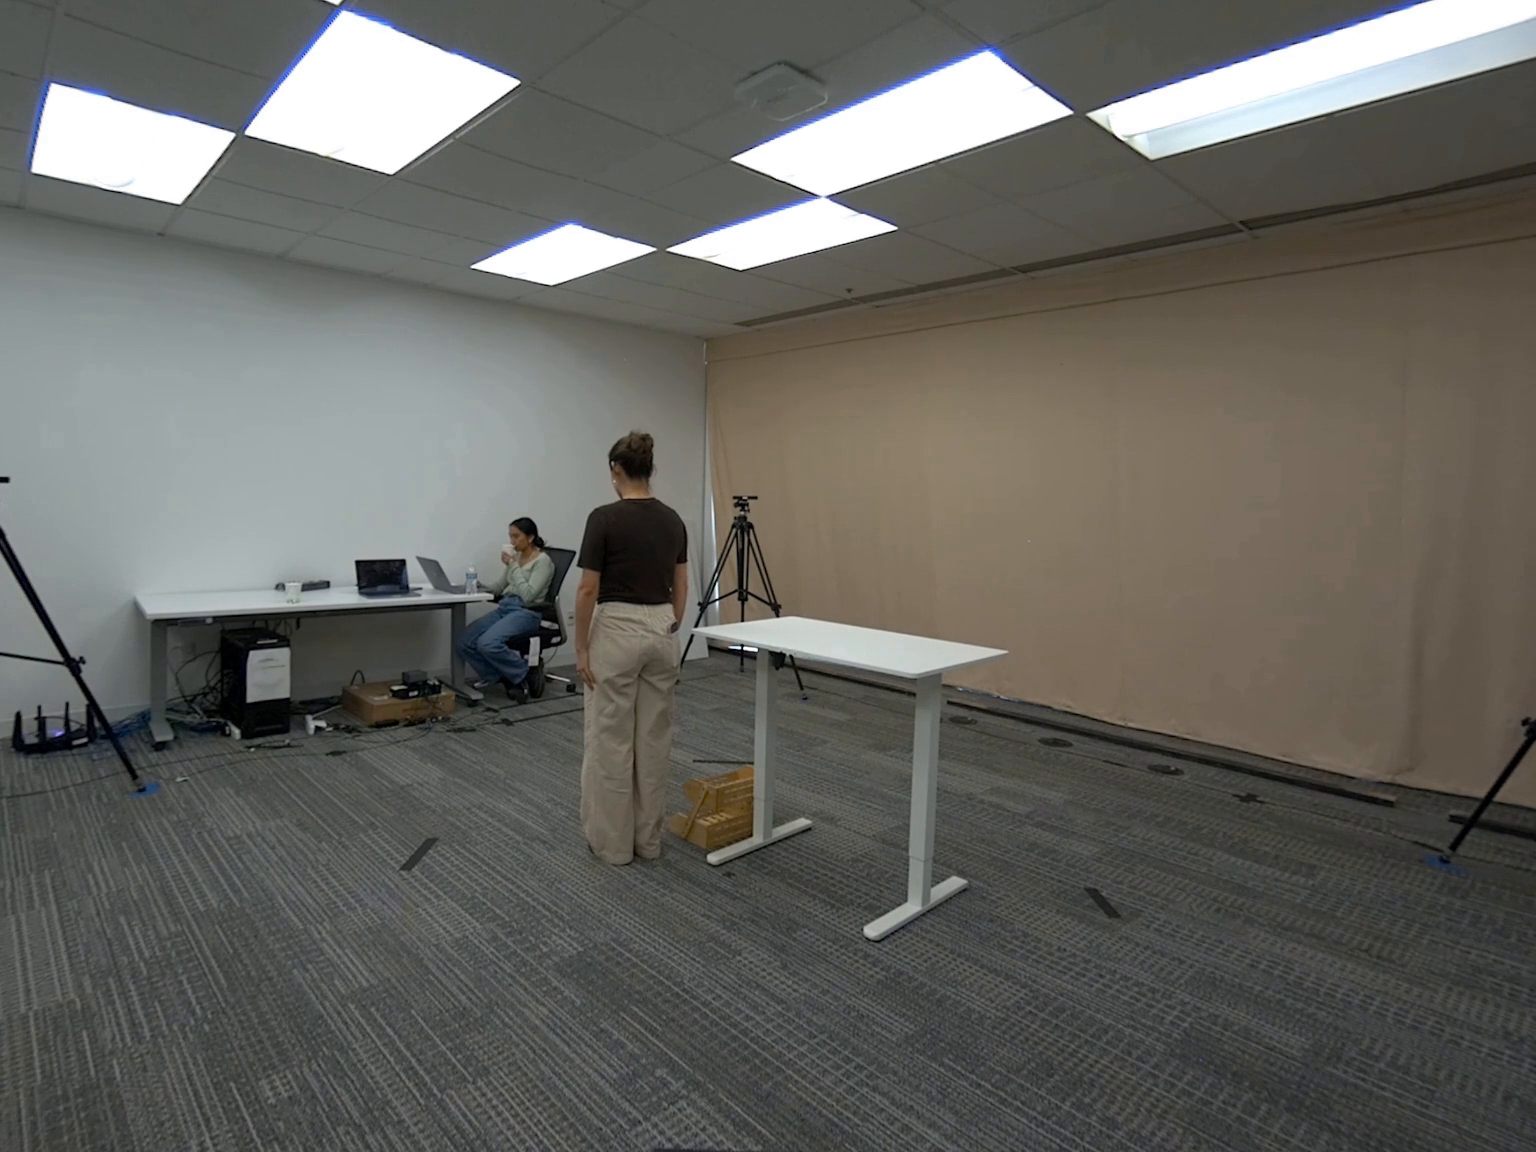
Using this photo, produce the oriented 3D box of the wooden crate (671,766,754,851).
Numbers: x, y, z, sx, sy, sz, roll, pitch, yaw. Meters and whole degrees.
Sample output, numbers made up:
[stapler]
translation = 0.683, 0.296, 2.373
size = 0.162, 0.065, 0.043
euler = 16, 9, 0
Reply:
[wooden crate]
translation = -0.210, 0.936, 3.487
size = 0.317, 0.272, 0.310
euler = -2, 6, -45
